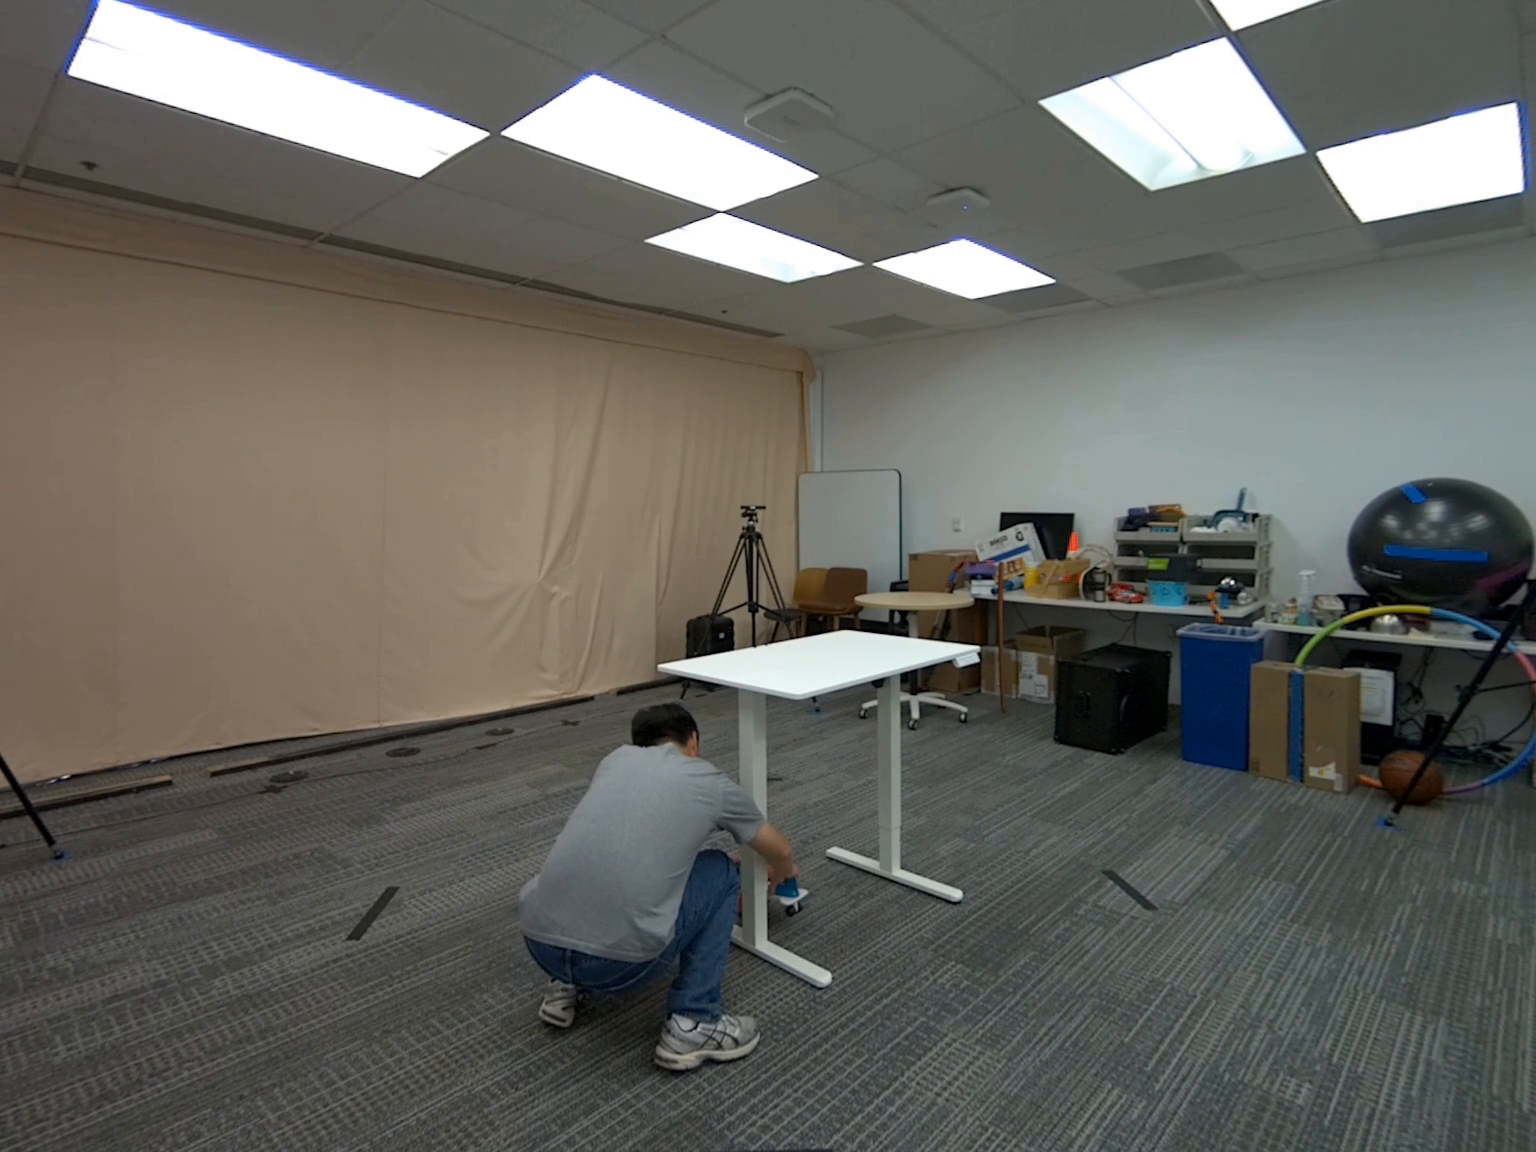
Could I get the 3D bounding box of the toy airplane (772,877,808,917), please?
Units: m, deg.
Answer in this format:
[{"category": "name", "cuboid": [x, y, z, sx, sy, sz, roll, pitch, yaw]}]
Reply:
[{"category": "toy airplane", "cuboid": [0.010, 1.053, 2.843, 0.261, 0.157, 0.248, -16, -5, 9]}]
